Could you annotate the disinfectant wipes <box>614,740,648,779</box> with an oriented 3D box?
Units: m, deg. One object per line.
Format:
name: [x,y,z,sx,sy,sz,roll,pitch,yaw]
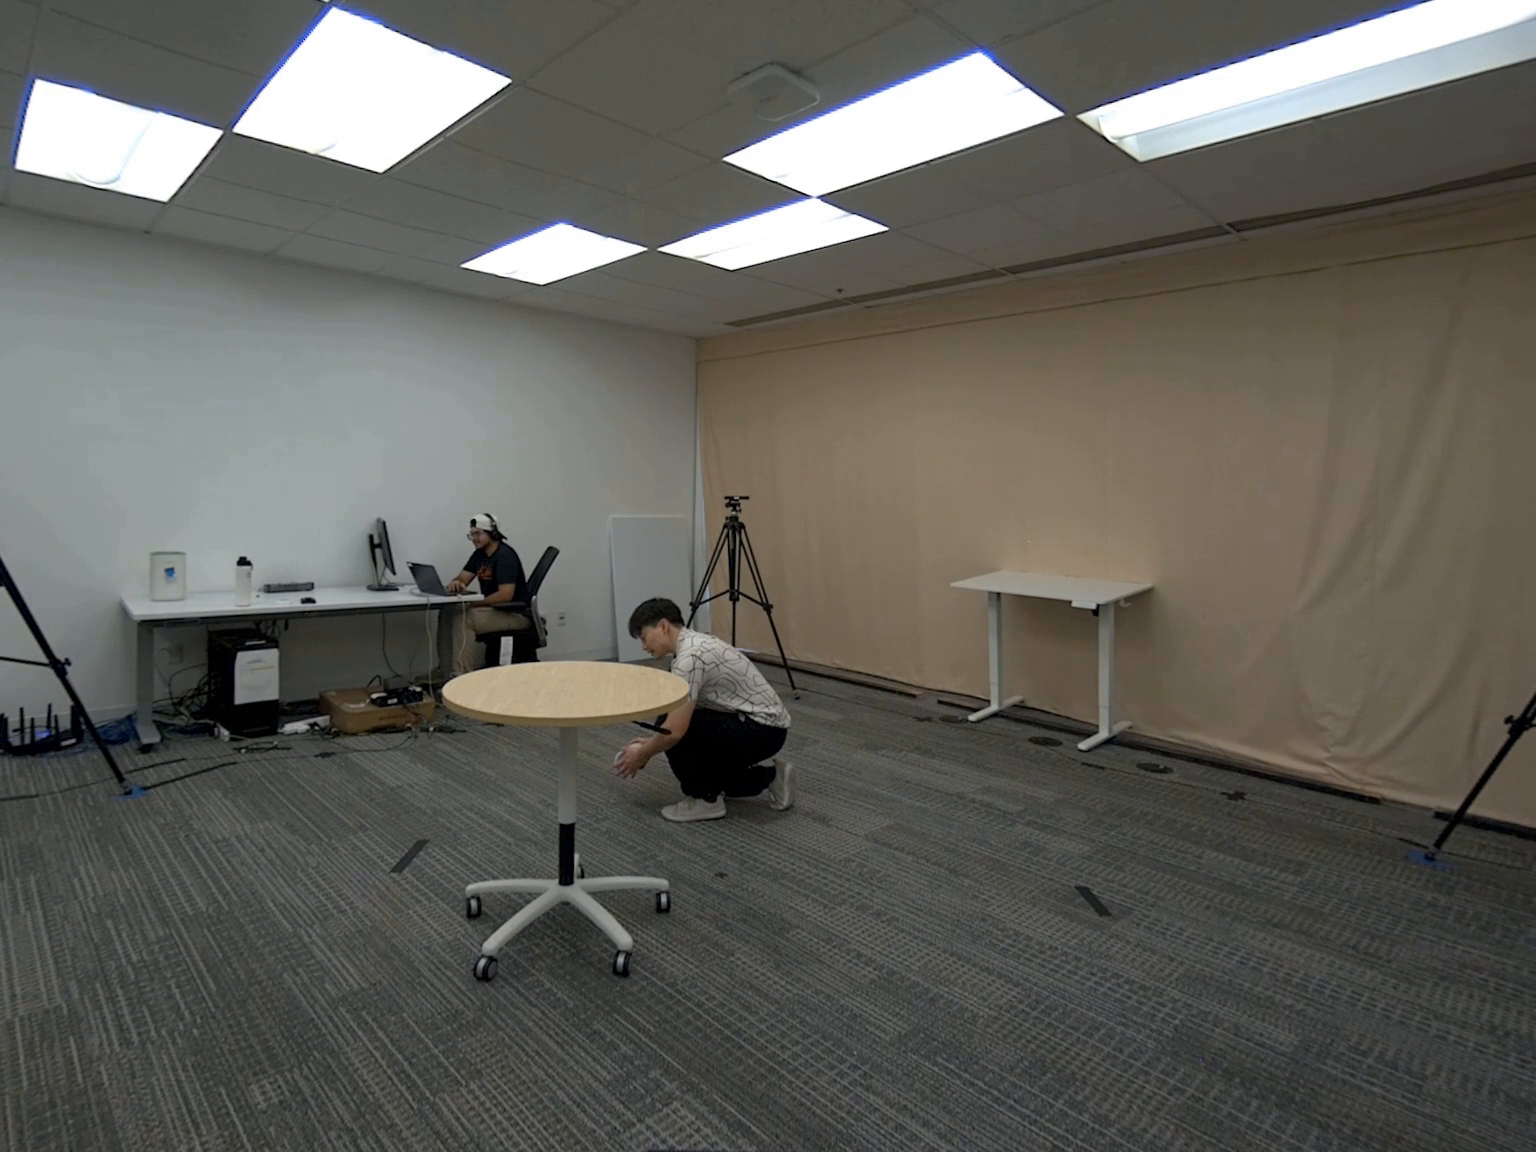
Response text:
disinfectant wipes: [-0.608,0.812,3.772,0.118,0.118,0.217,1,-1,-2]
